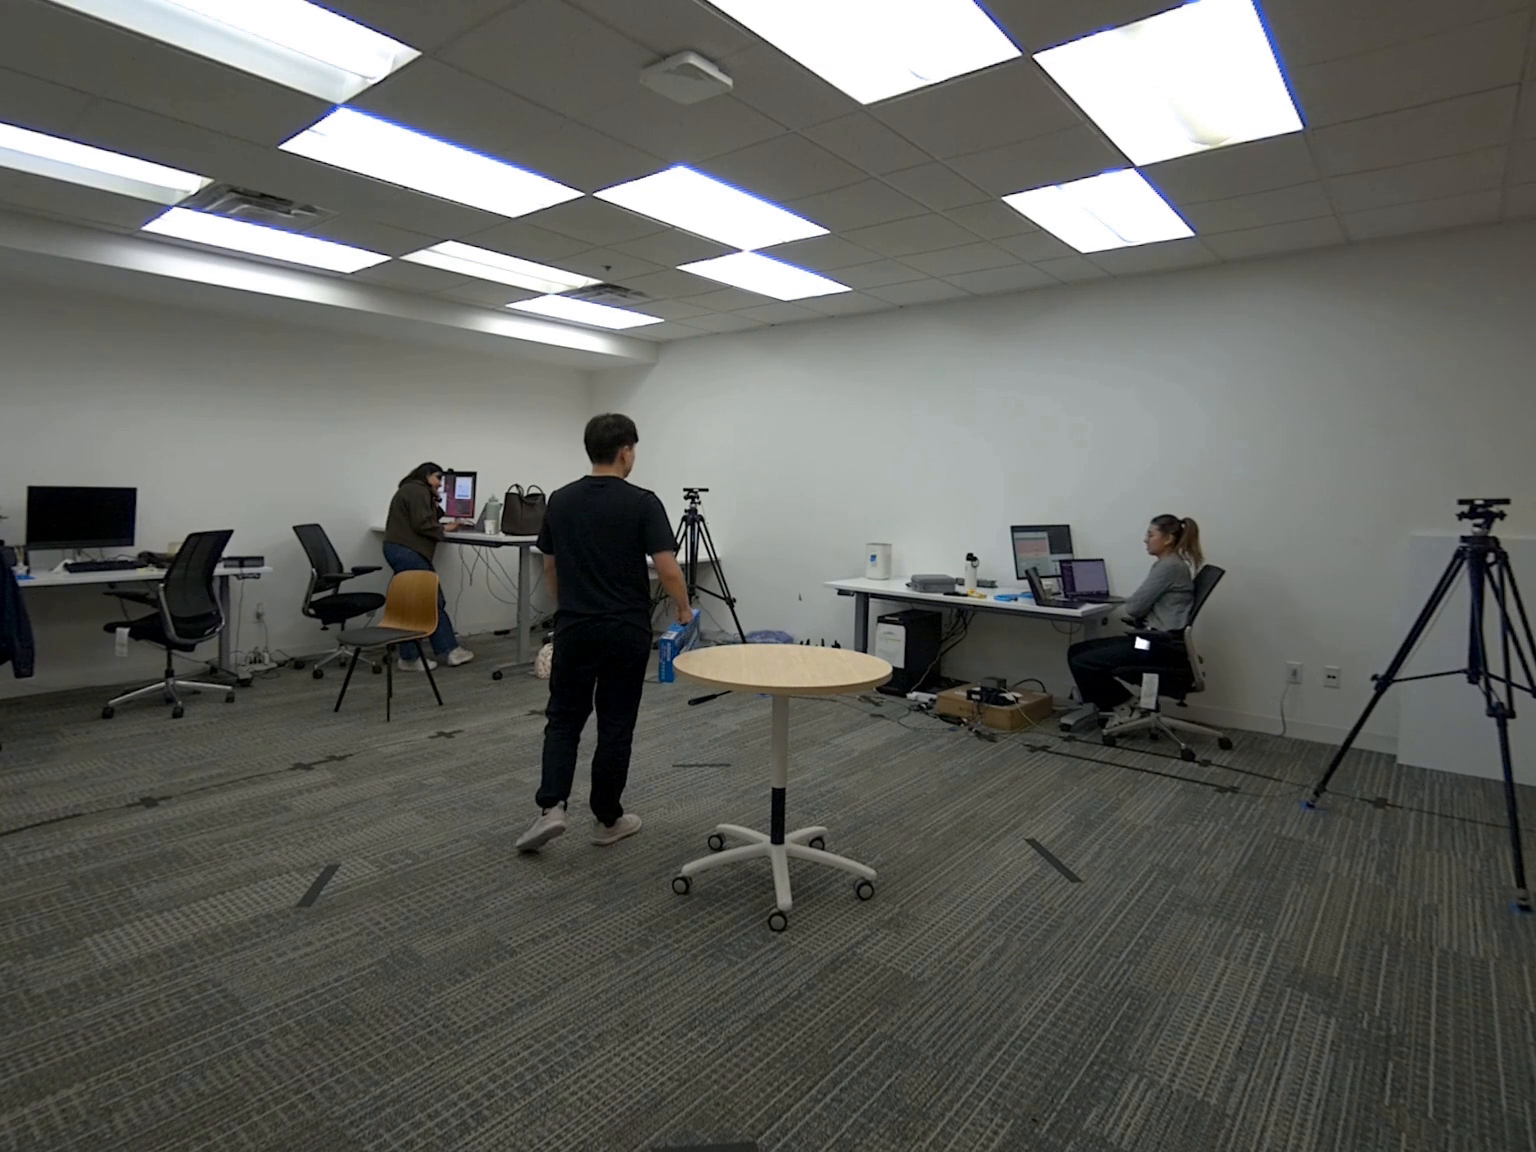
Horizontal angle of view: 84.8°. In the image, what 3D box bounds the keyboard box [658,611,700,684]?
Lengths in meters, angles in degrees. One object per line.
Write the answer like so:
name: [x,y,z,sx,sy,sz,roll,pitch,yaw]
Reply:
keyboard box: [-0.369,0.274,3.431,0.060,0.174,0.437,3,13,8]
